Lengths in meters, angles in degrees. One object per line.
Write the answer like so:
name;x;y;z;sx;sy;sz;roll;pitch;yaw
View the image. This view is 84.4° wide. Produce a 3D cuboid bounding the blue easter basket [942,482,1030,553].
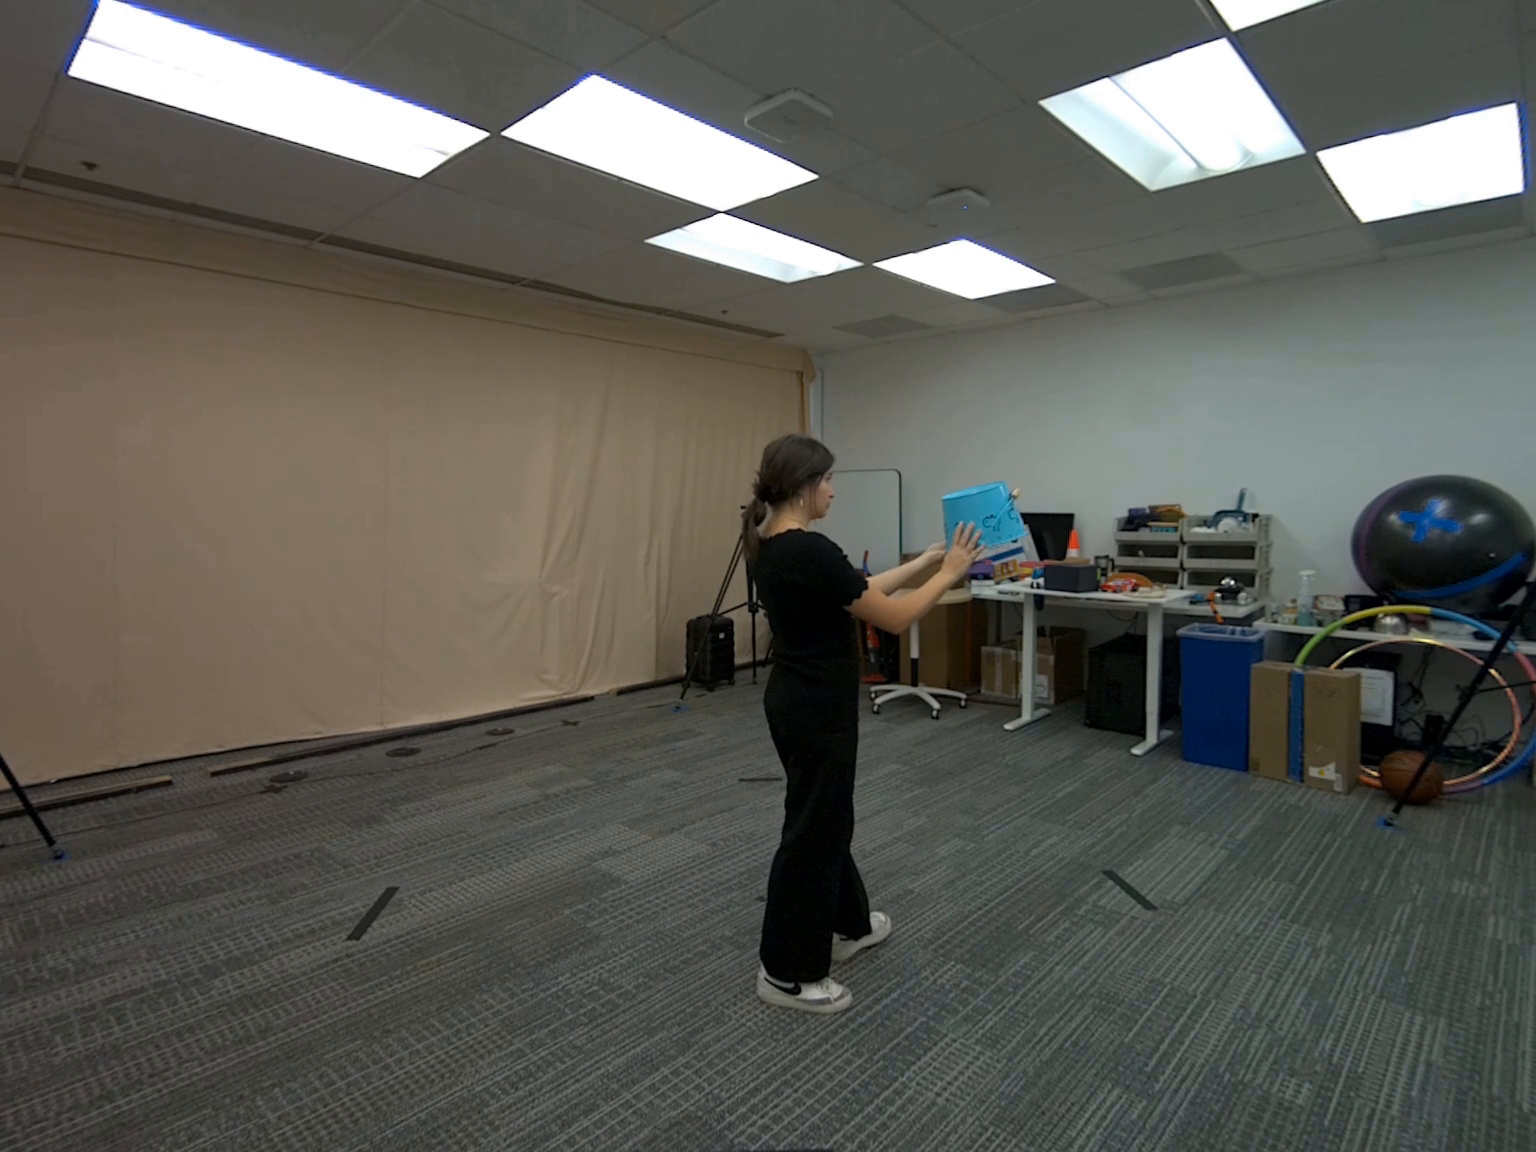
blue easter basket;0.624;-0.175;2.390;0.244;0.155;0.245;-16;6;0
